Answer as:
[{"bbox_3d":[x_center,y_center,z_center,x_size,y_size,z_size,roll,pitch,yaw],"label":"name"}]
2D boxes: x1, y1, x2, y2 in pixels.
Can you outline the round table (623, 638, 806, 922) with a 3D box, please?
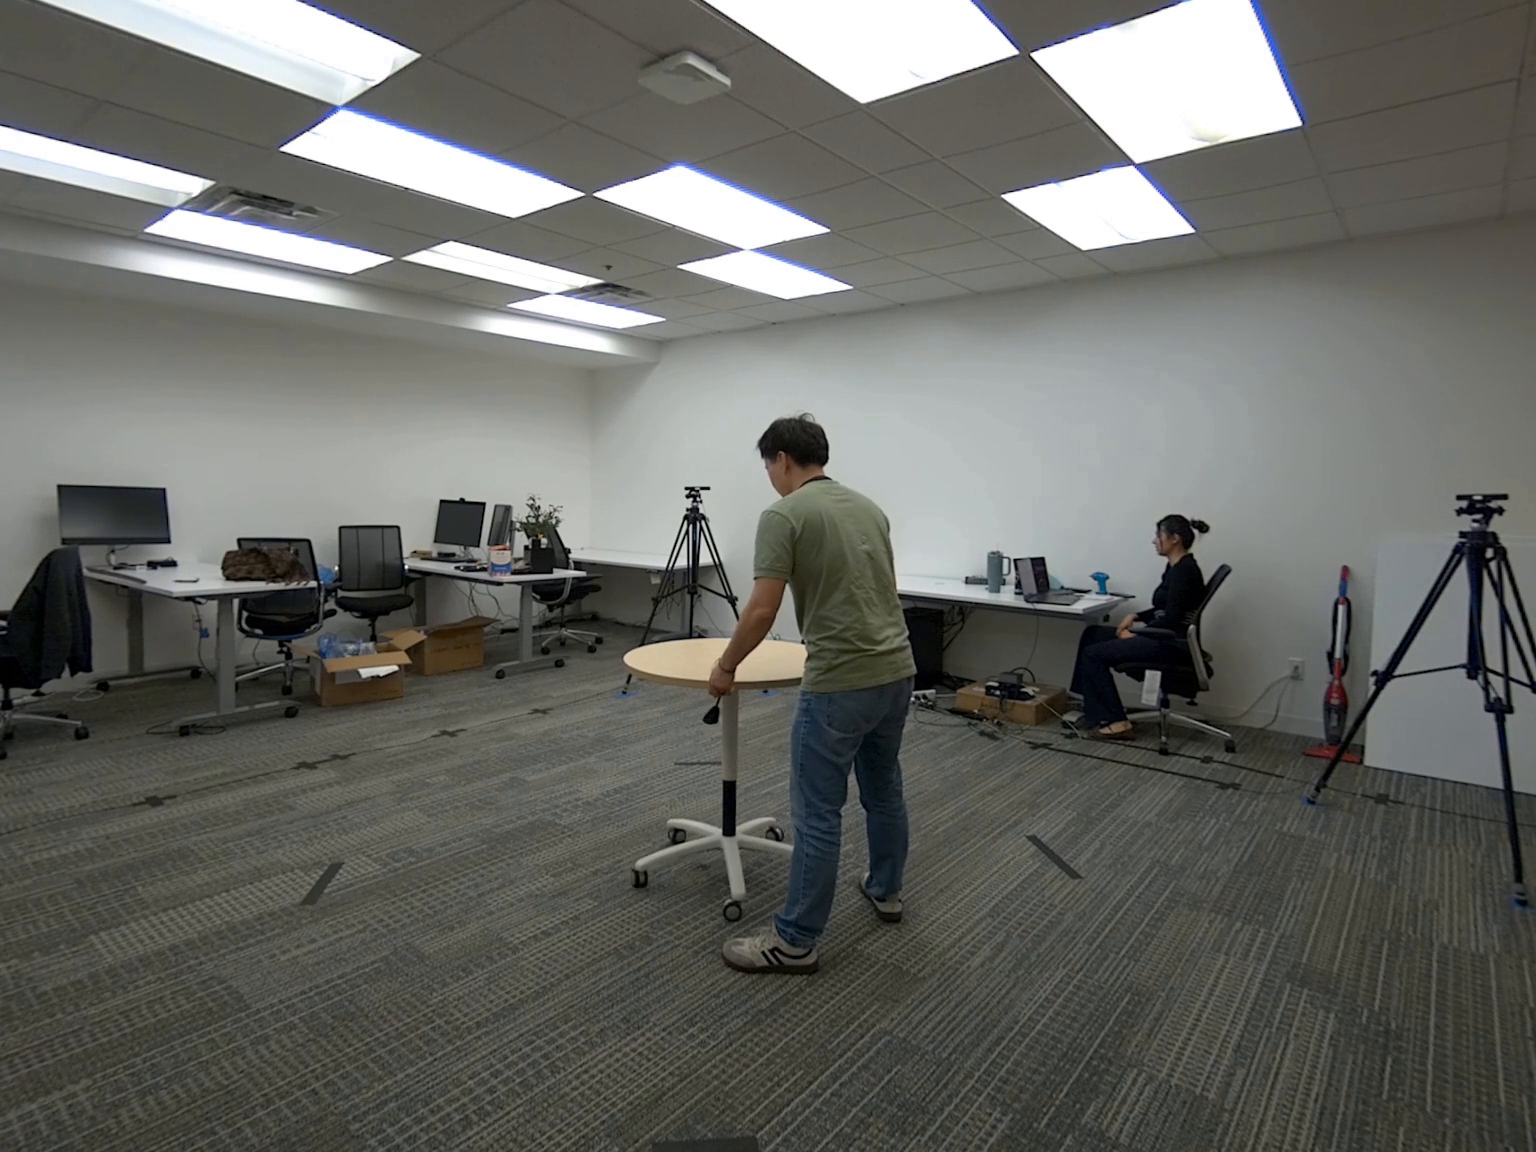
[{"bbox_3d":[-0.152,0.682,3.051,0.763,0.791,0.768,1,4,-2],"label":"round table"}]
